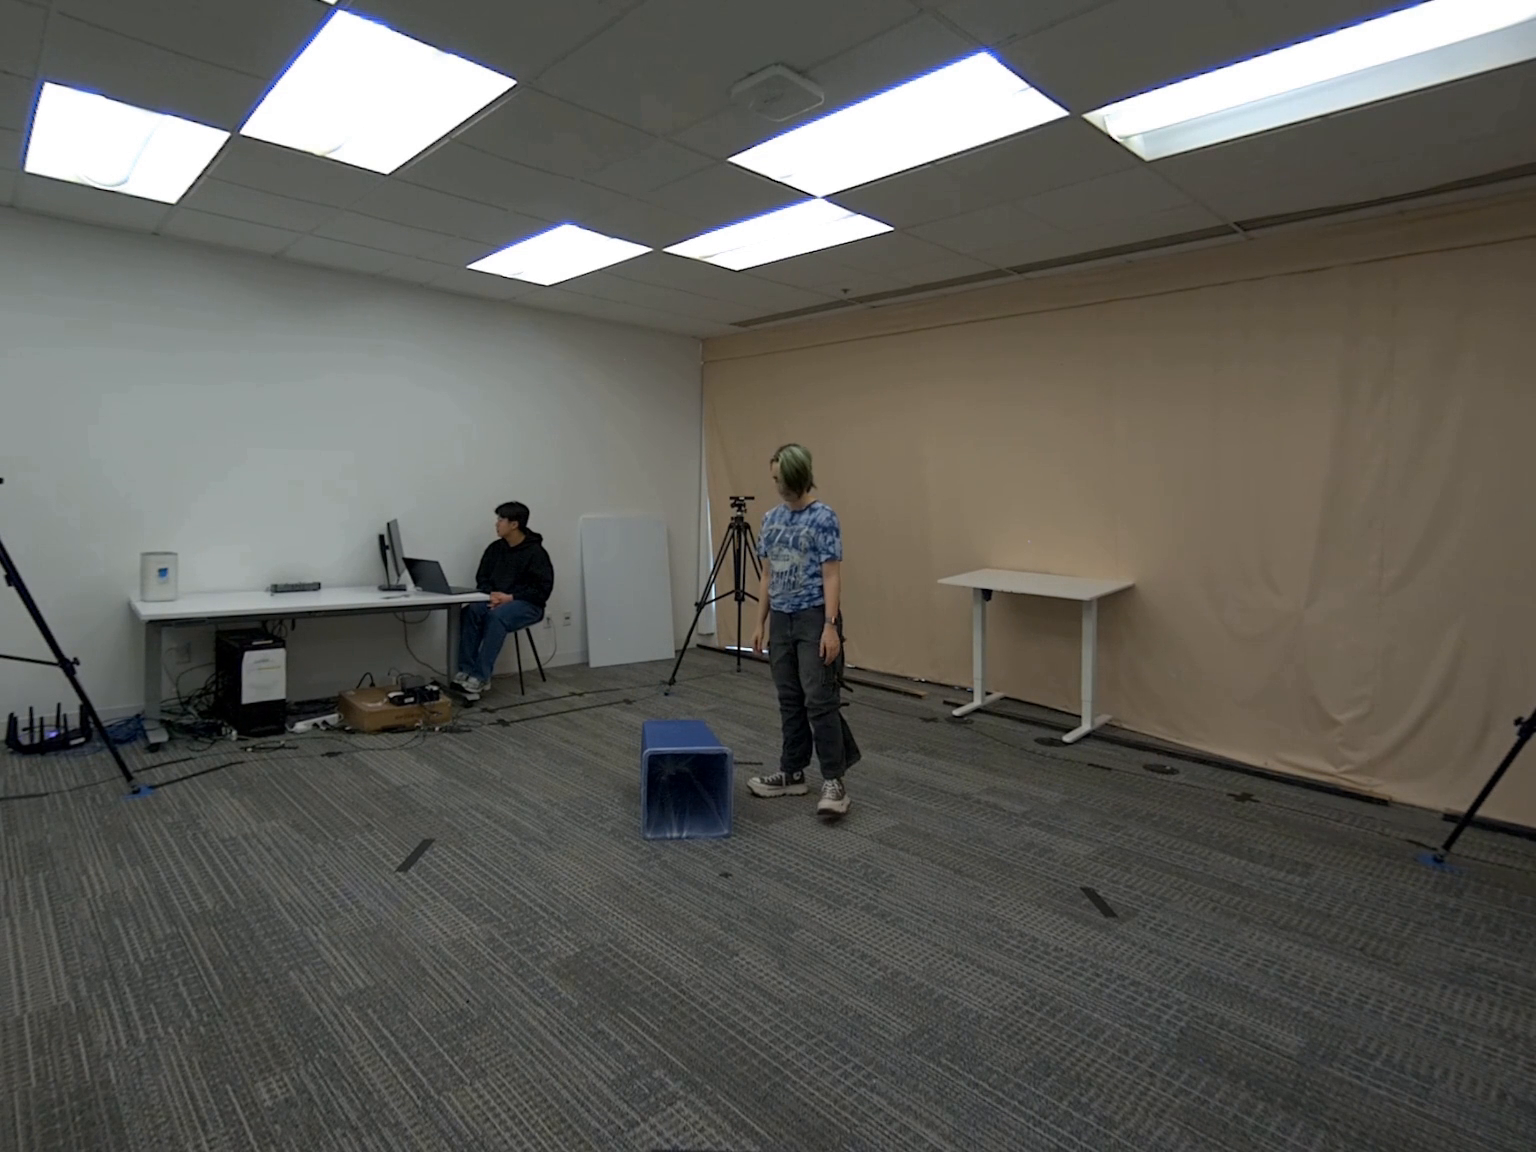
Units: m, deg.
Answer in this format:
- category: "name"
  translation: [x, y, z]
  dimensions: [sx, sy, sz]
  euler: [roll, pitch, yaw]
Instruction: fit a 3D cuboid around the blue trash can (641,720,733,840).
- category: "blue trash can"
  translation: [-0.407, 0.864, 3.767]
  dimensions: [0.375, 0.373, 0.721]
  euler: [1, 3, -11]
